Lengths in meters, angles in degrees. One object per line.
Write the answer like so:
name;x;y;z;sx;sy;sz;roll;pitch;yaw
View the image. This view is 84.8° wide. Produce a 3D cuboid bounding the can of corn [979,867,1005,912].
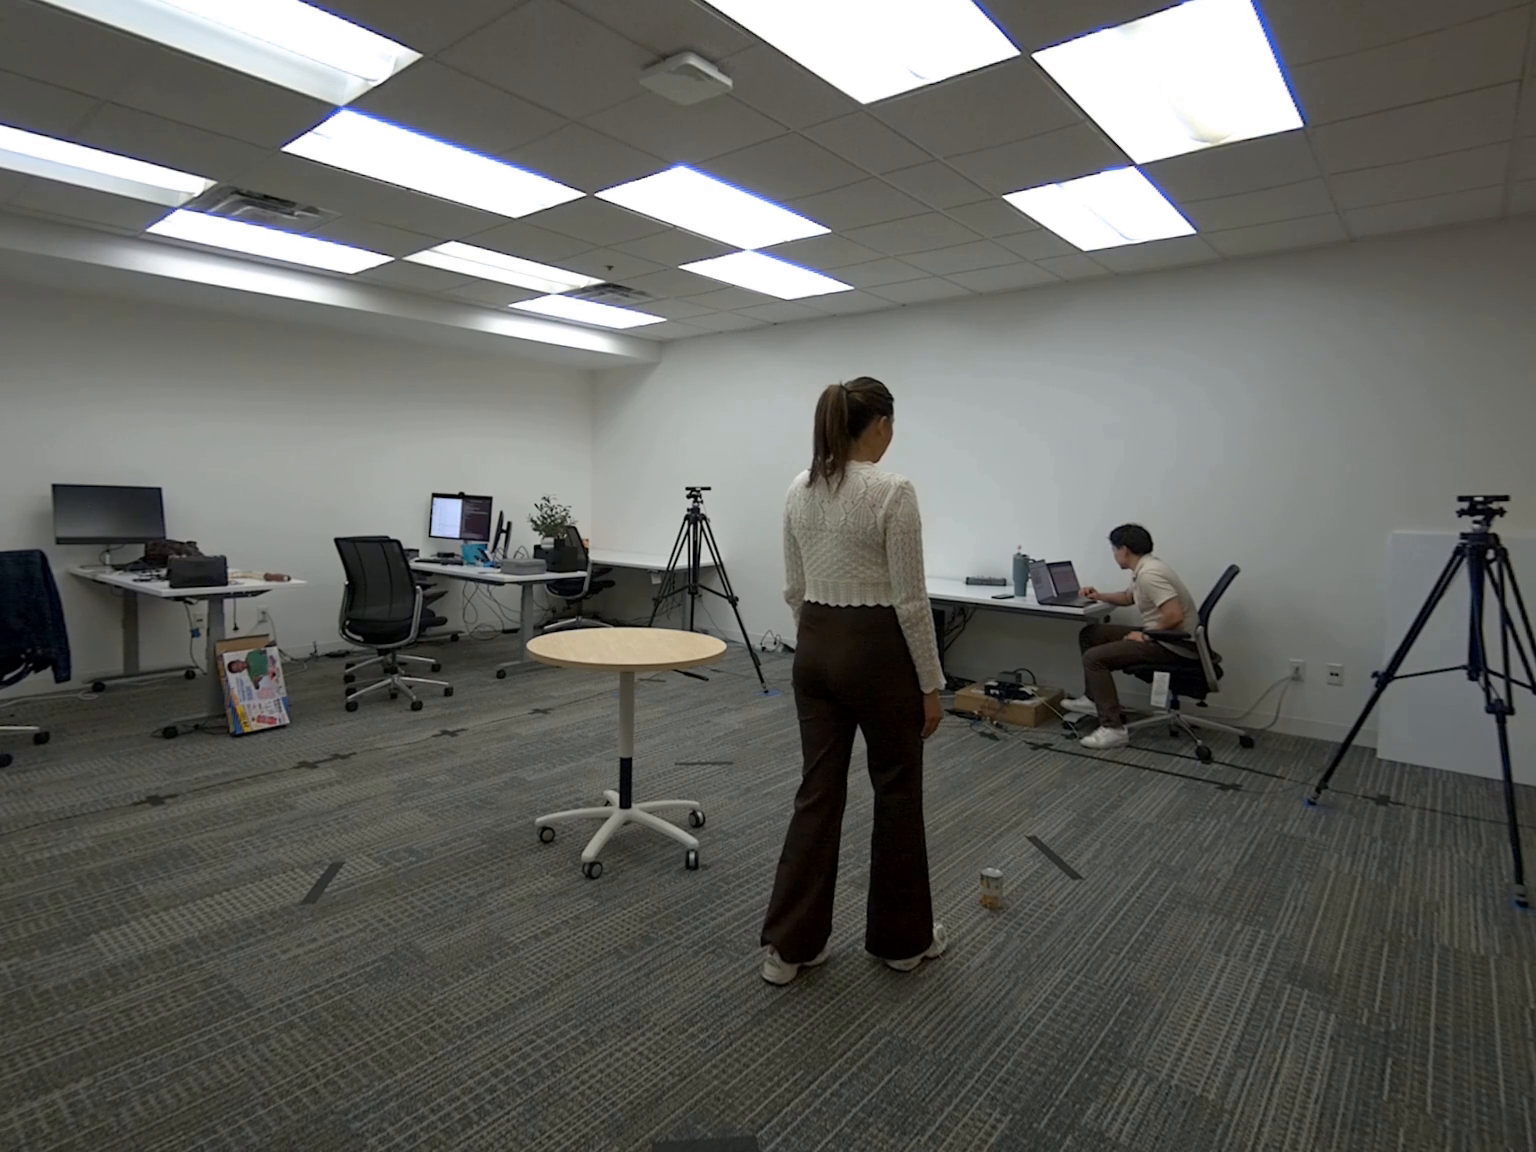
can of corn;0.755;1.053;2.881;0.074;0.111;0.074;3;4;-2
